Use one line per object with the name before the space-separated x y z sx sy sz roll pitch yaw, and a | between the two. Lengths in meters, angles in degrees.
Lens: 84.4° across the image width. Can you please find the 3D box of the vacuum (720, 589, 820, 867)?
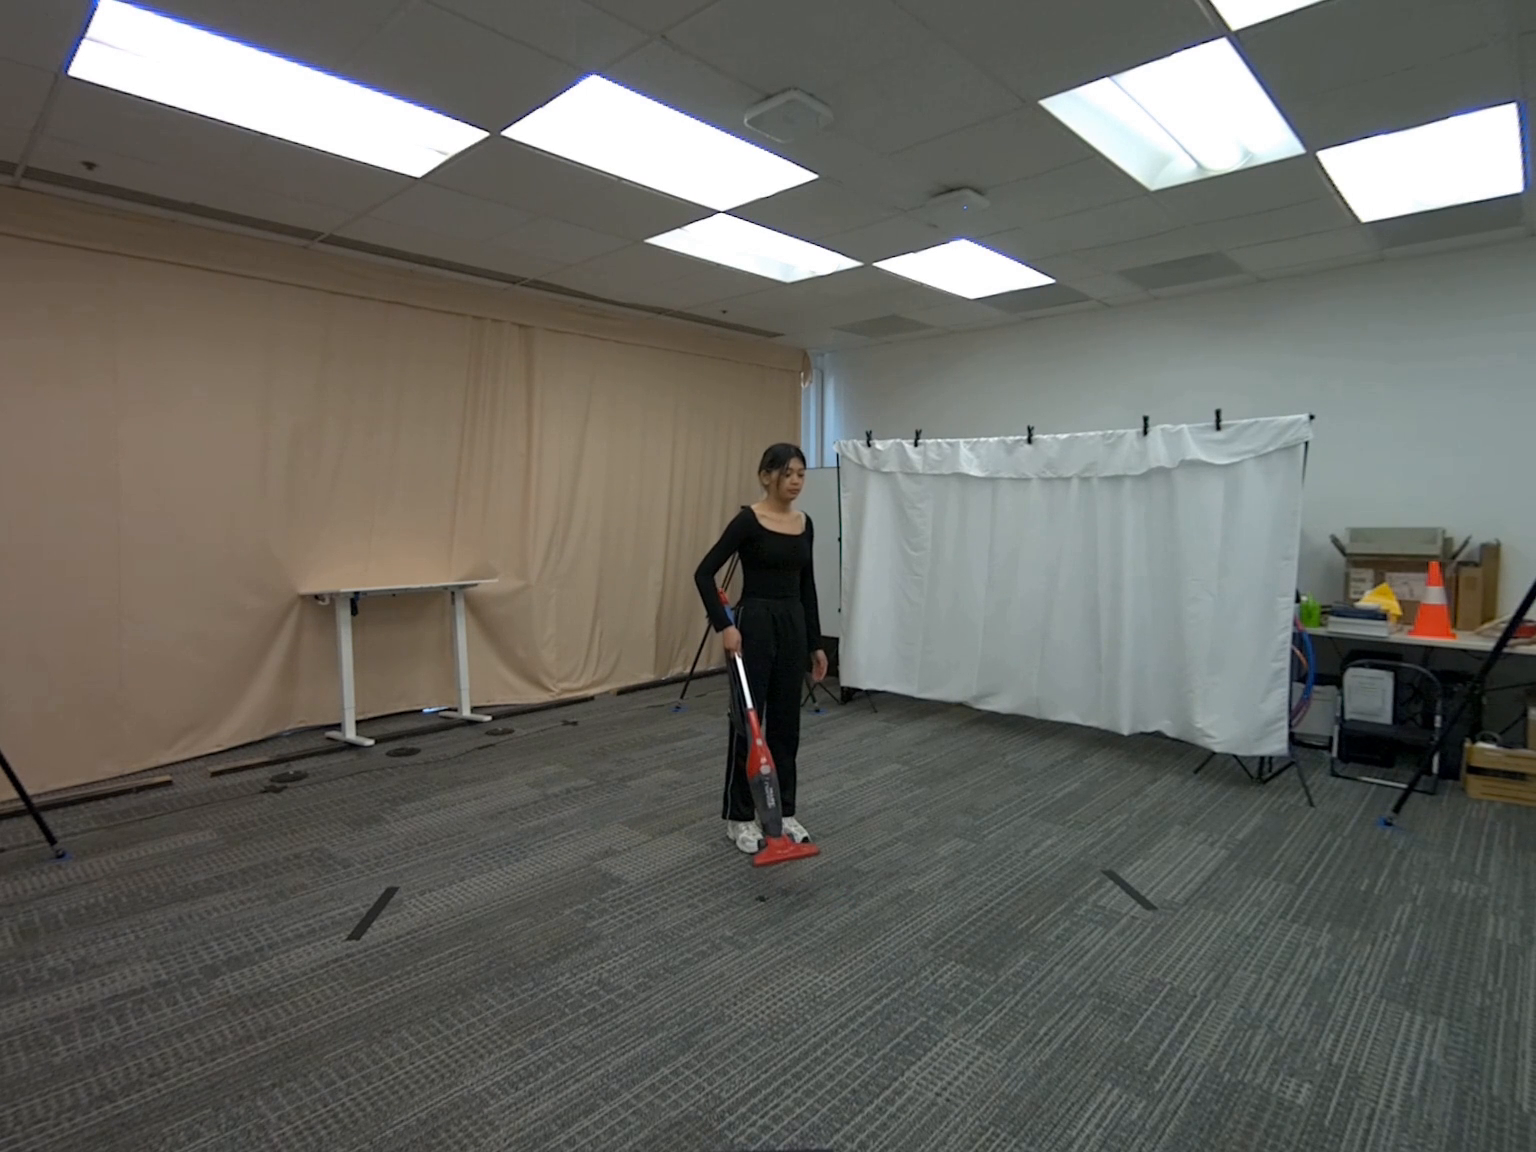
vacuum | -0.072 0.529 3.225 0.249 1.072 0.143 -7 -28 -16
